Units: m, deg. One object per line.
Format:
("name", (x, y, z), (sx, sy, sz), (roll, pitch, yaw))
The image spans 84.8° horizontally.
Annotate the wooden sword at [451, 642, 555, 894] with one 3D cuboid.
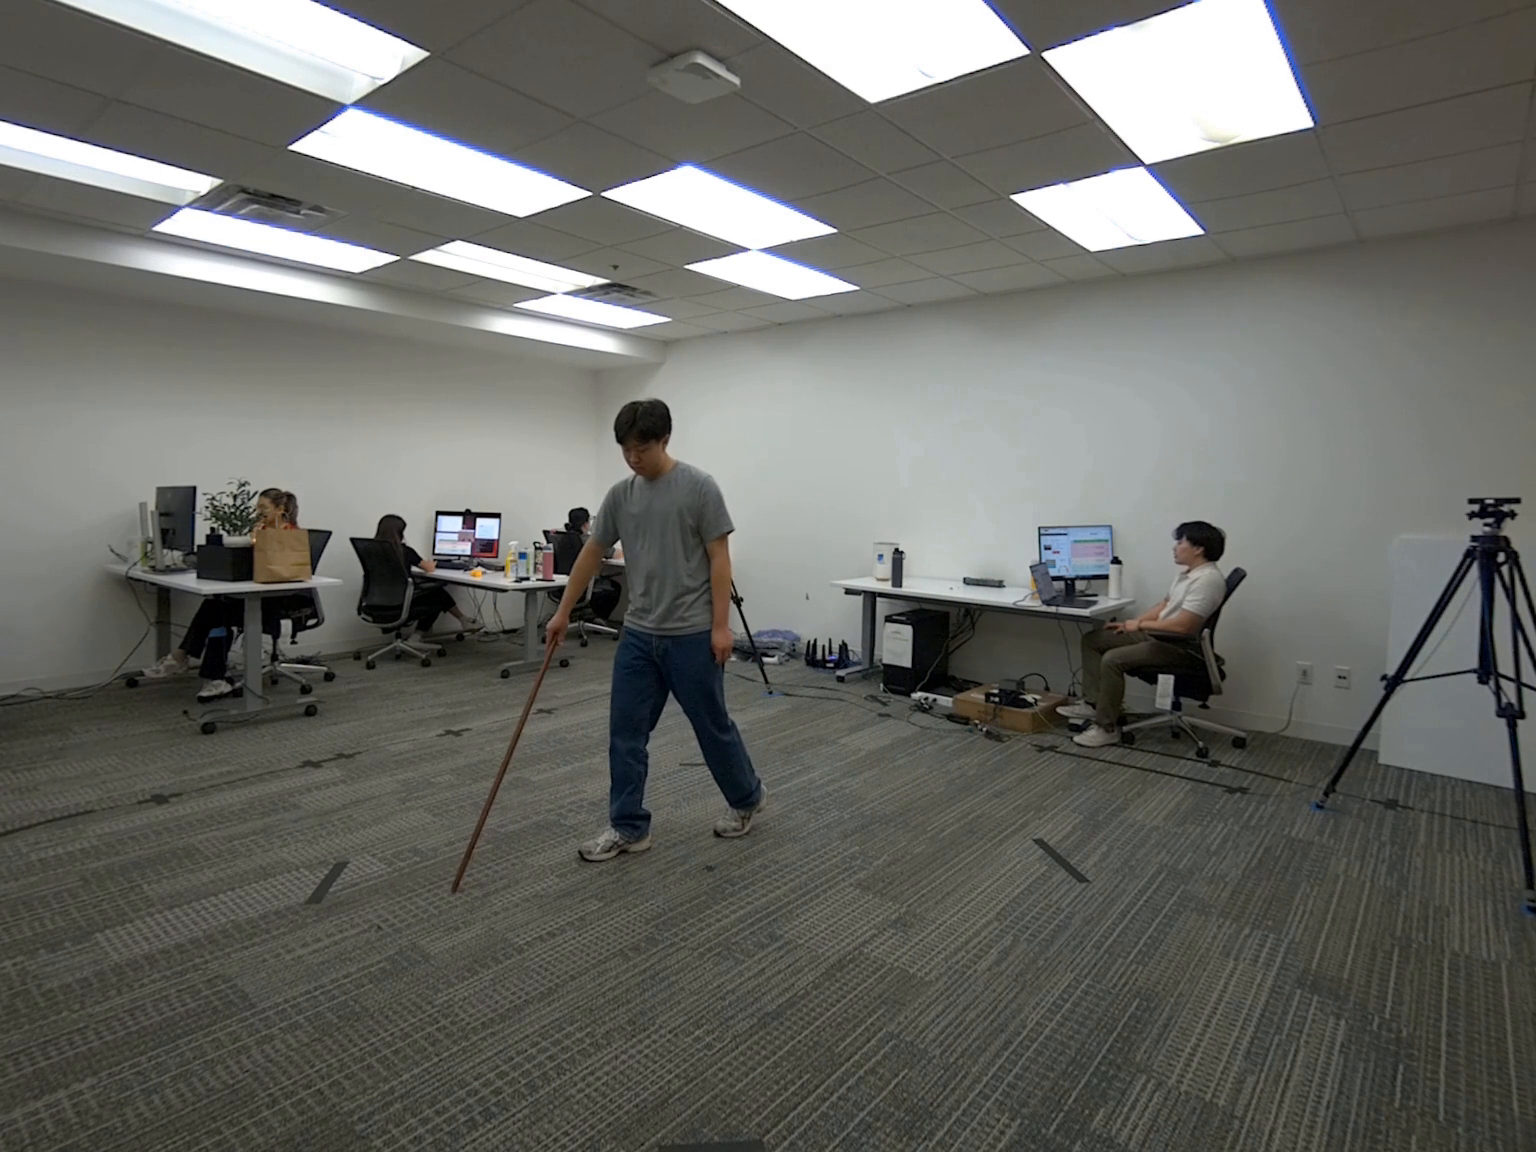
("wooden sword", (-0.955, 0.657, 3.134), (0.025, 1.041, 0.049), (-4, -35, 31))
